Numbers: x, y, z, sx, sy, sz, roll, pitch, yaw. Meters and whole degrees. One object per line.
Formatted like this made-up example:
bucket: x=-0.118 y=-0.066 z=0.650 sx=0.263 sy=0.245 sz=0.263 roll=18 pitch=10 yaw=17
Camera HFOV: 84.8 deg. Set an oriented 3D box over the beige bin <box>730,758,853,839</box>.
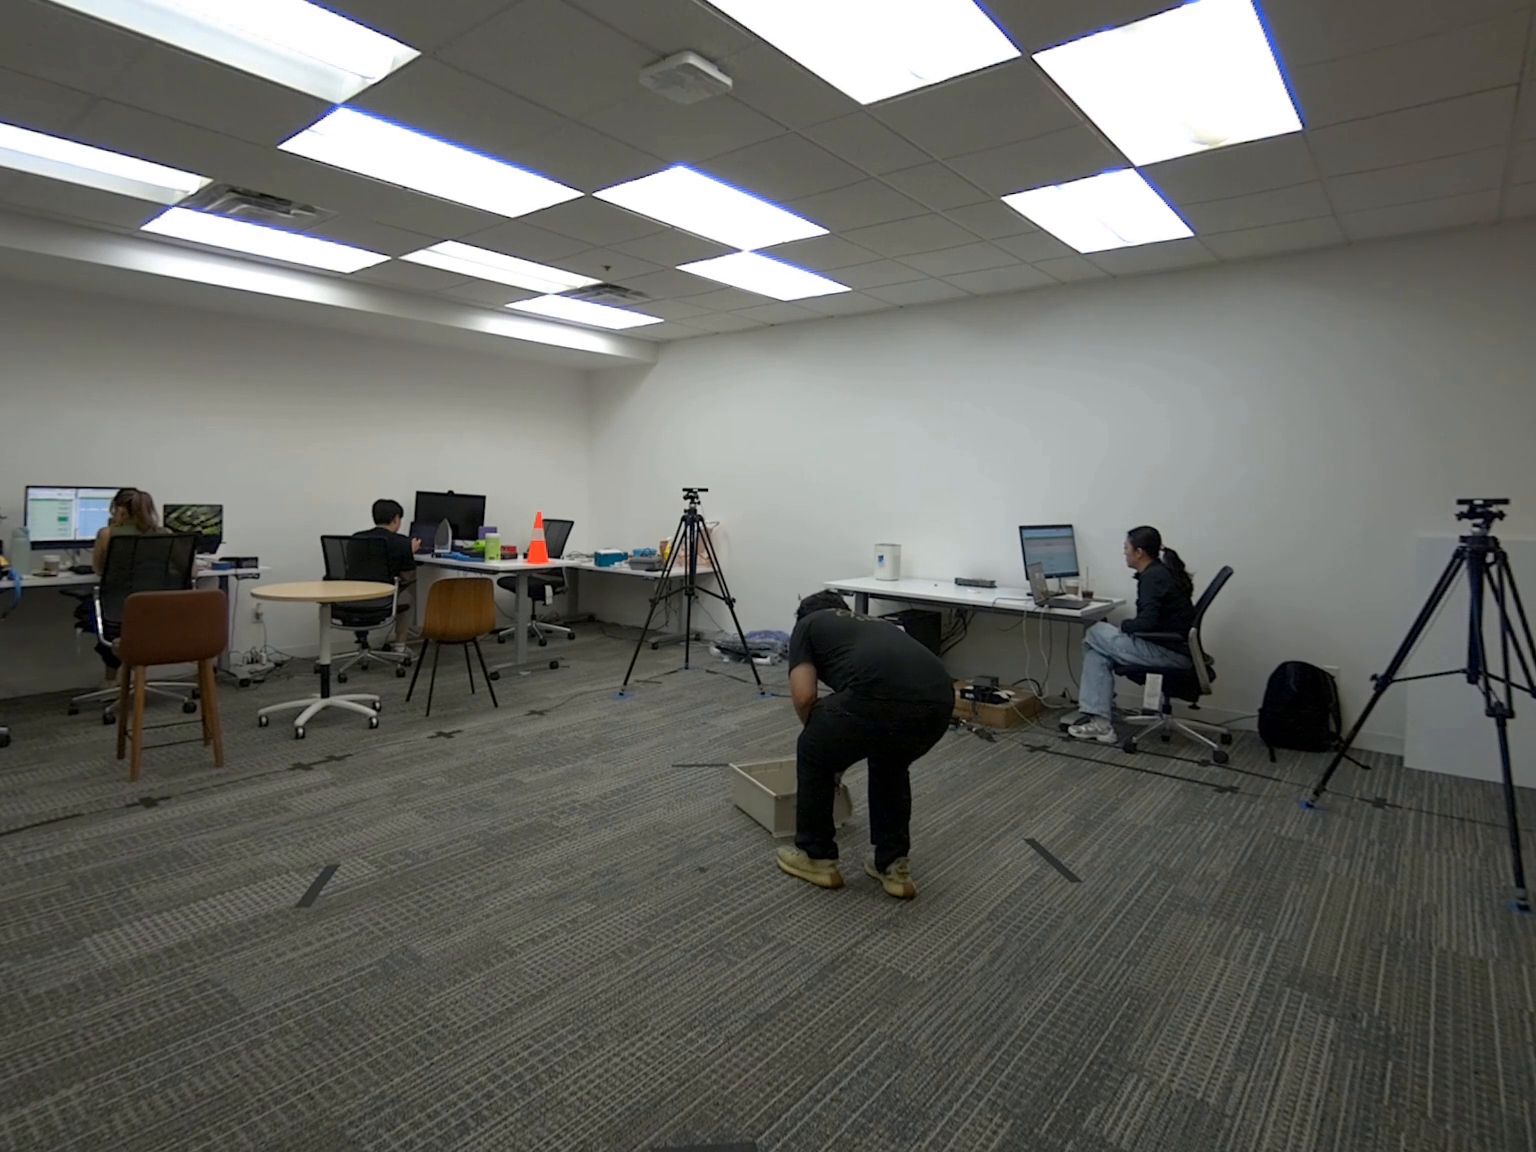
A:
beige bin: x=0.082 y=0.930 z=3.653 sx=0.368 sy=0.188 sz=0.435 roll=-3 pitch=7 yaw=-27
